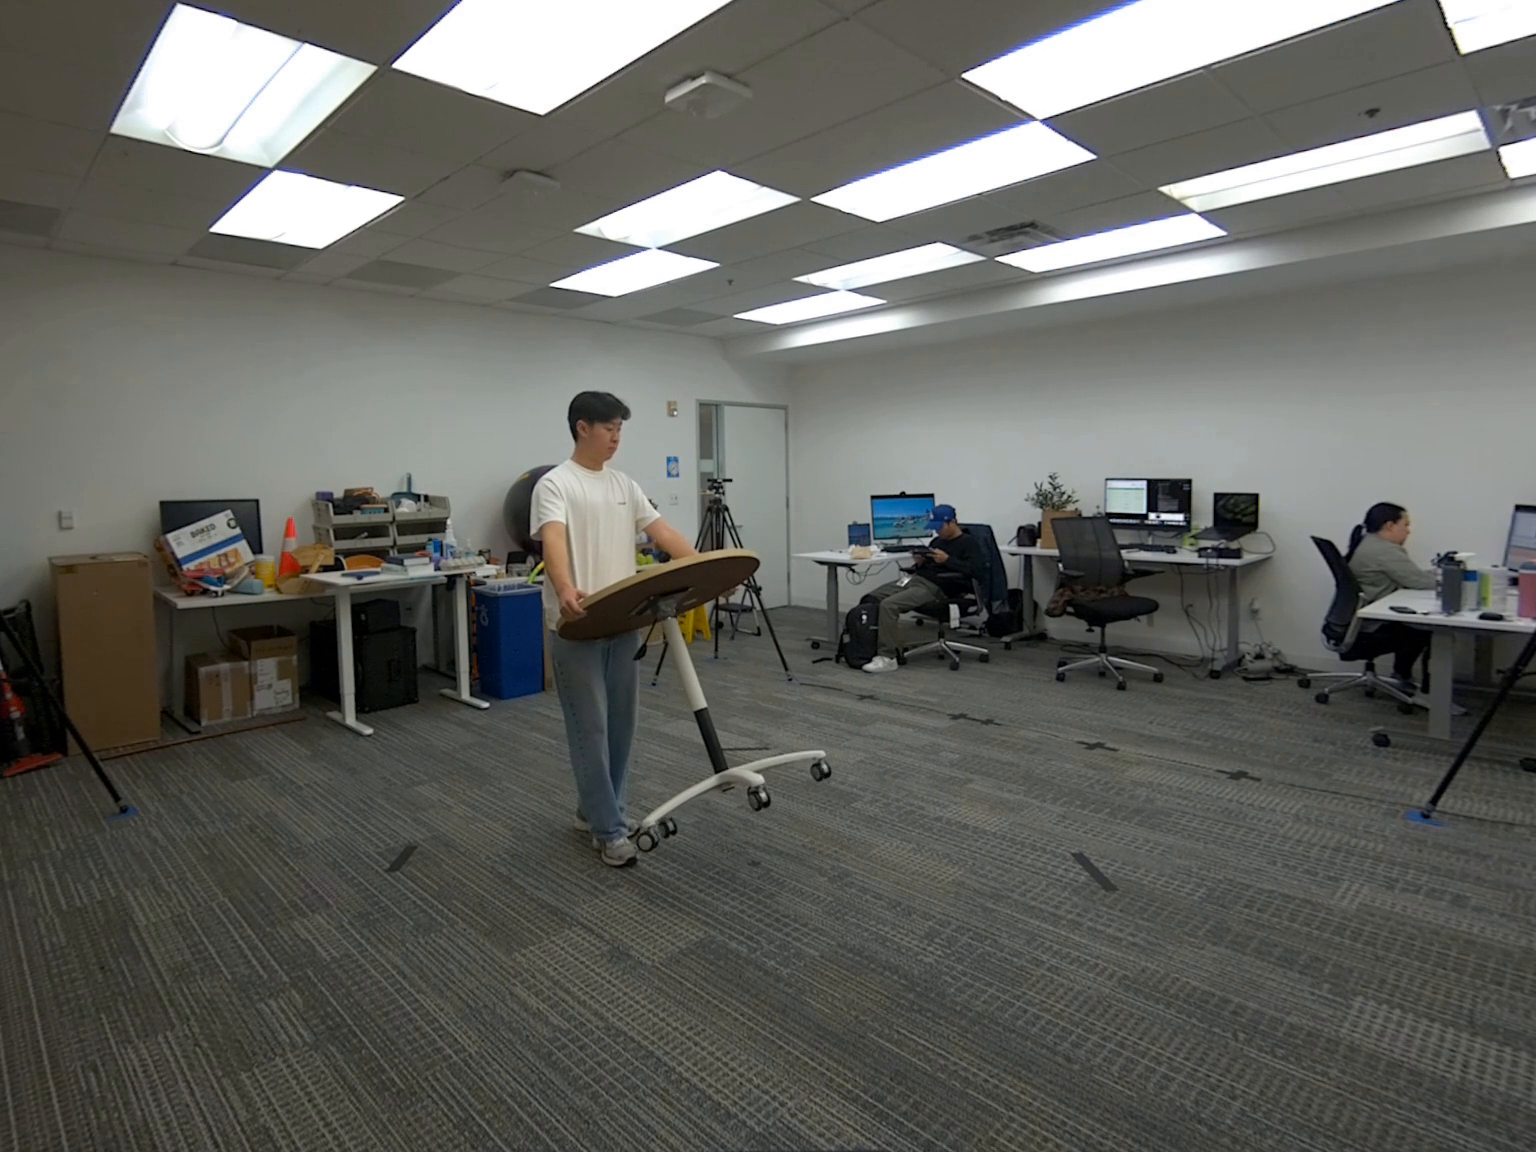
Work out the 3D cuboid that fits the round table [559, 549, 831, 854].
[{"bbox_3d":[-0.243,0.431,2.976,0.761,0.807,0.755,-20,-12,-6],"label":"round table"}]
